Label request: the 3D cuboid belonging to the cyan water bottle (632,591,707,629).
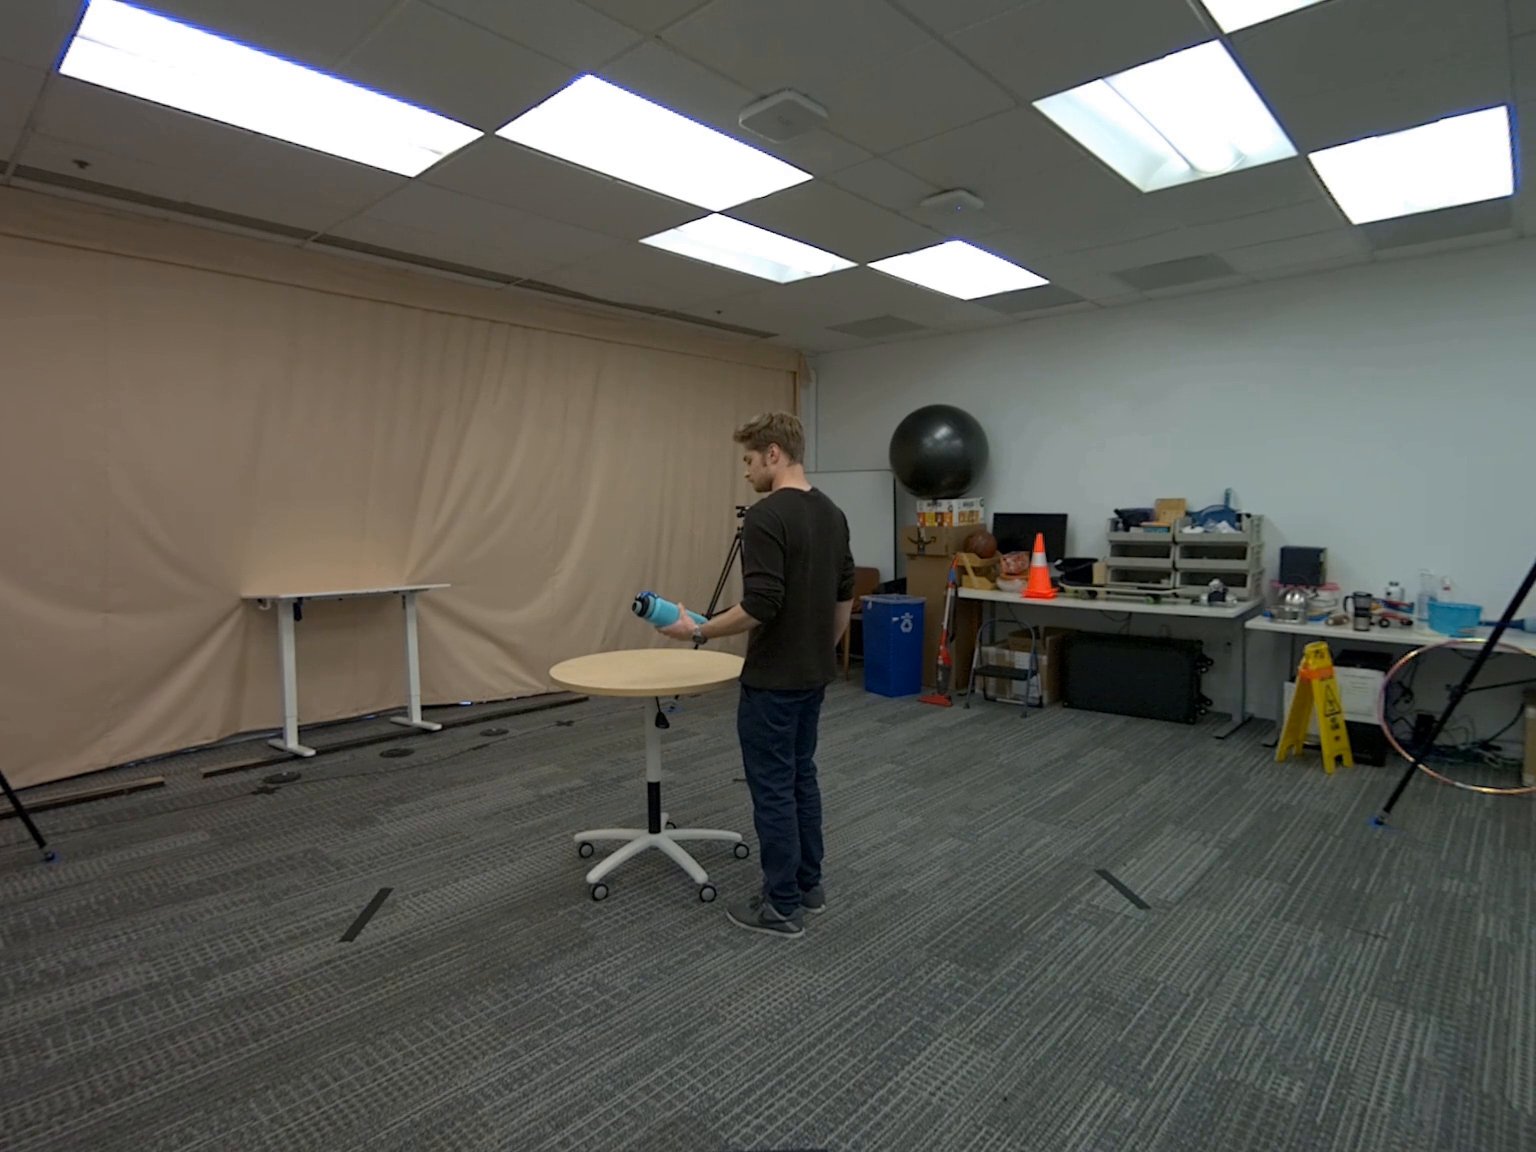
[{"bbox_3d":[-0.327,0.133,2.793,0.274,0.092,0.095,28,-13,-33],"label":"cyan water bottle"}]
